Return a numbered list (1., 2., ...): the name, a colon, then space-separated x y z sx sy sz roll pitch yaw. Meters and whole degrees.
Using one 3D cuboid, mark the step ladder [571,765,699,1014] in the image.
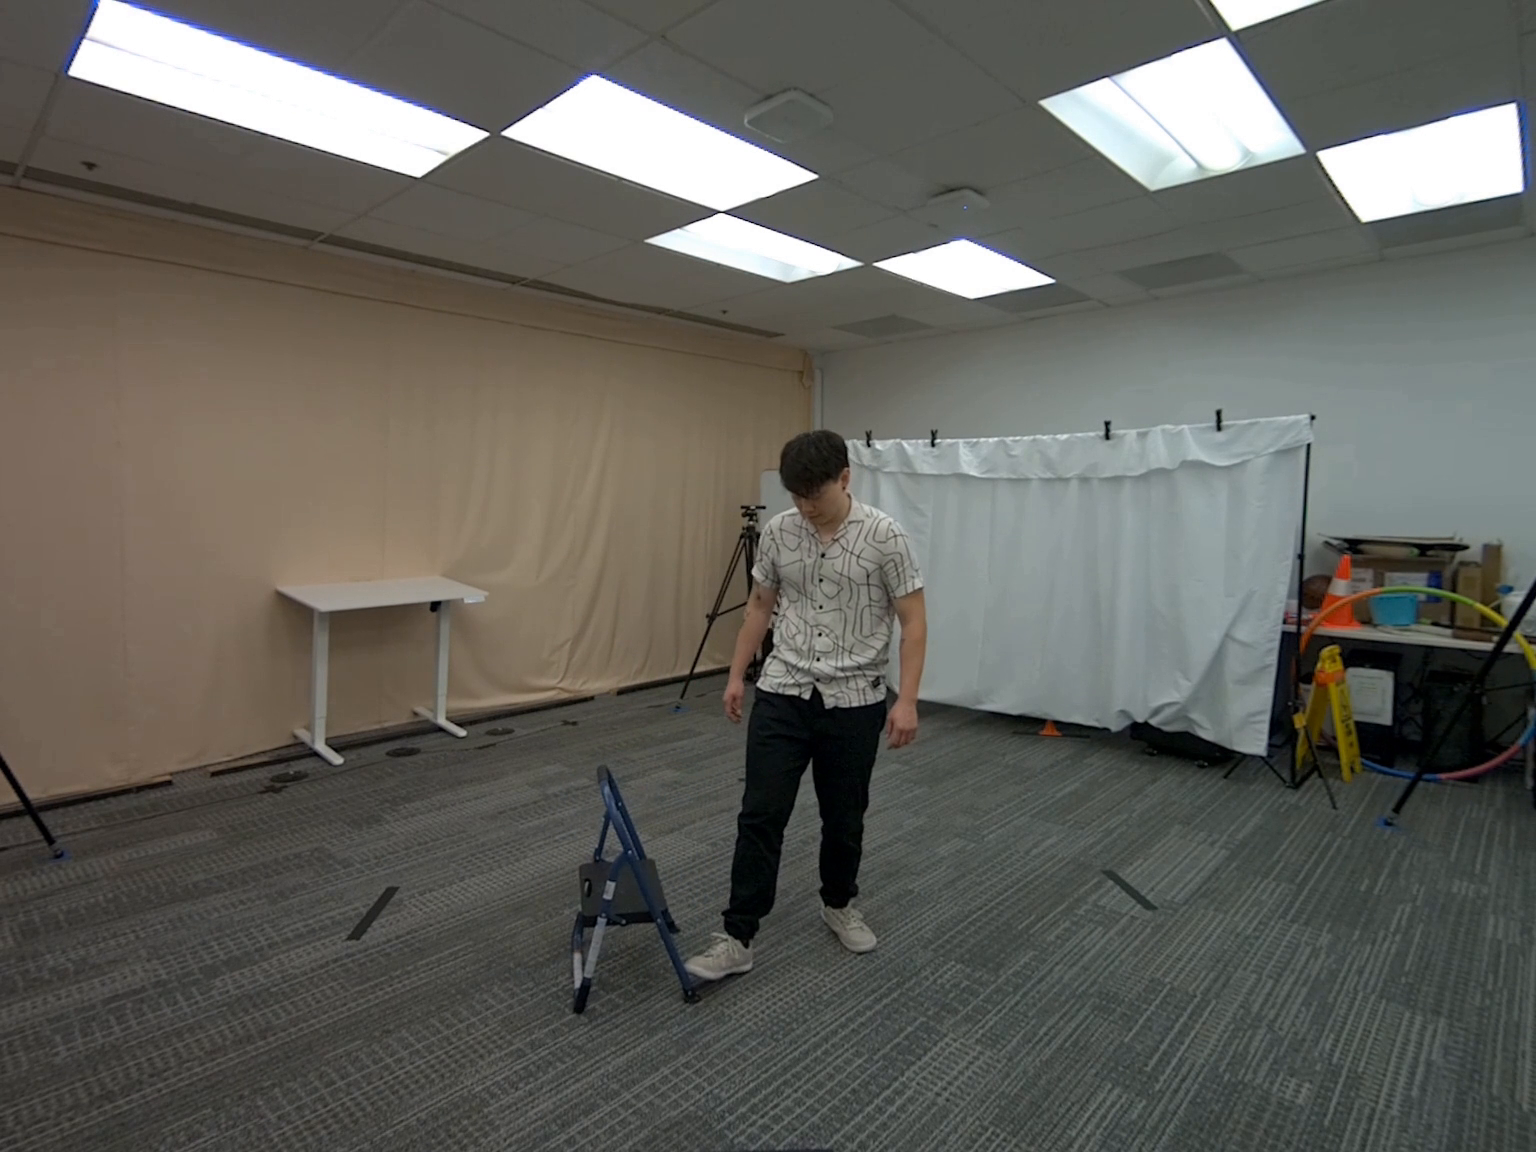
1. step ladder: -0.416 0.885 2.524 0.344 0.605 0.437 -2 3 -14
